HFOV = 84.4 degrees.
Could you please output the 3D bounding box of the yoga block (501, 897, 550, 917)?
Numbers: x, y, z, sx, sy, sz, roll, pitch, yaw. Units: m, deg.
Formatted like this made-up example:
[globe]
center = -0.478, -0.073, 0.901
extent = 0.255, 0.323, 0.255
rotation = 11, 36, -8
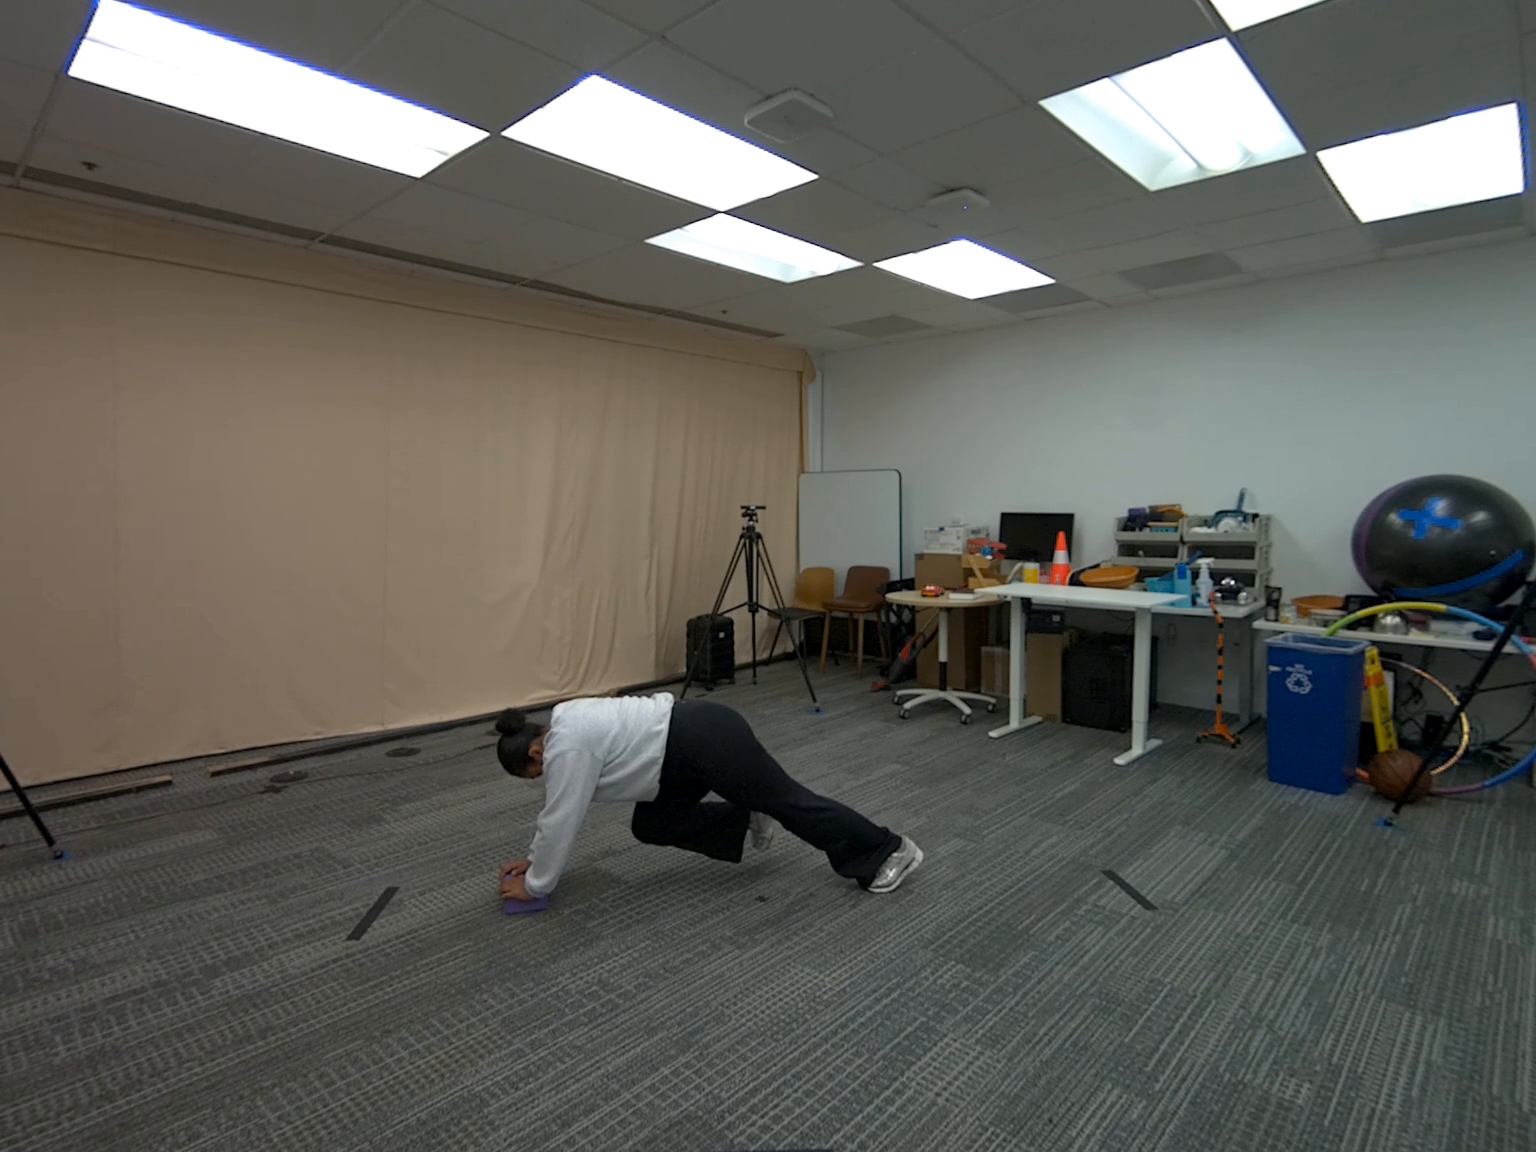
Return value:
[yoga block]
center = -0.868, 1.122, 2.997
extent = 0.147, 0.076, 0.233
rotation = -1, 4, -16
